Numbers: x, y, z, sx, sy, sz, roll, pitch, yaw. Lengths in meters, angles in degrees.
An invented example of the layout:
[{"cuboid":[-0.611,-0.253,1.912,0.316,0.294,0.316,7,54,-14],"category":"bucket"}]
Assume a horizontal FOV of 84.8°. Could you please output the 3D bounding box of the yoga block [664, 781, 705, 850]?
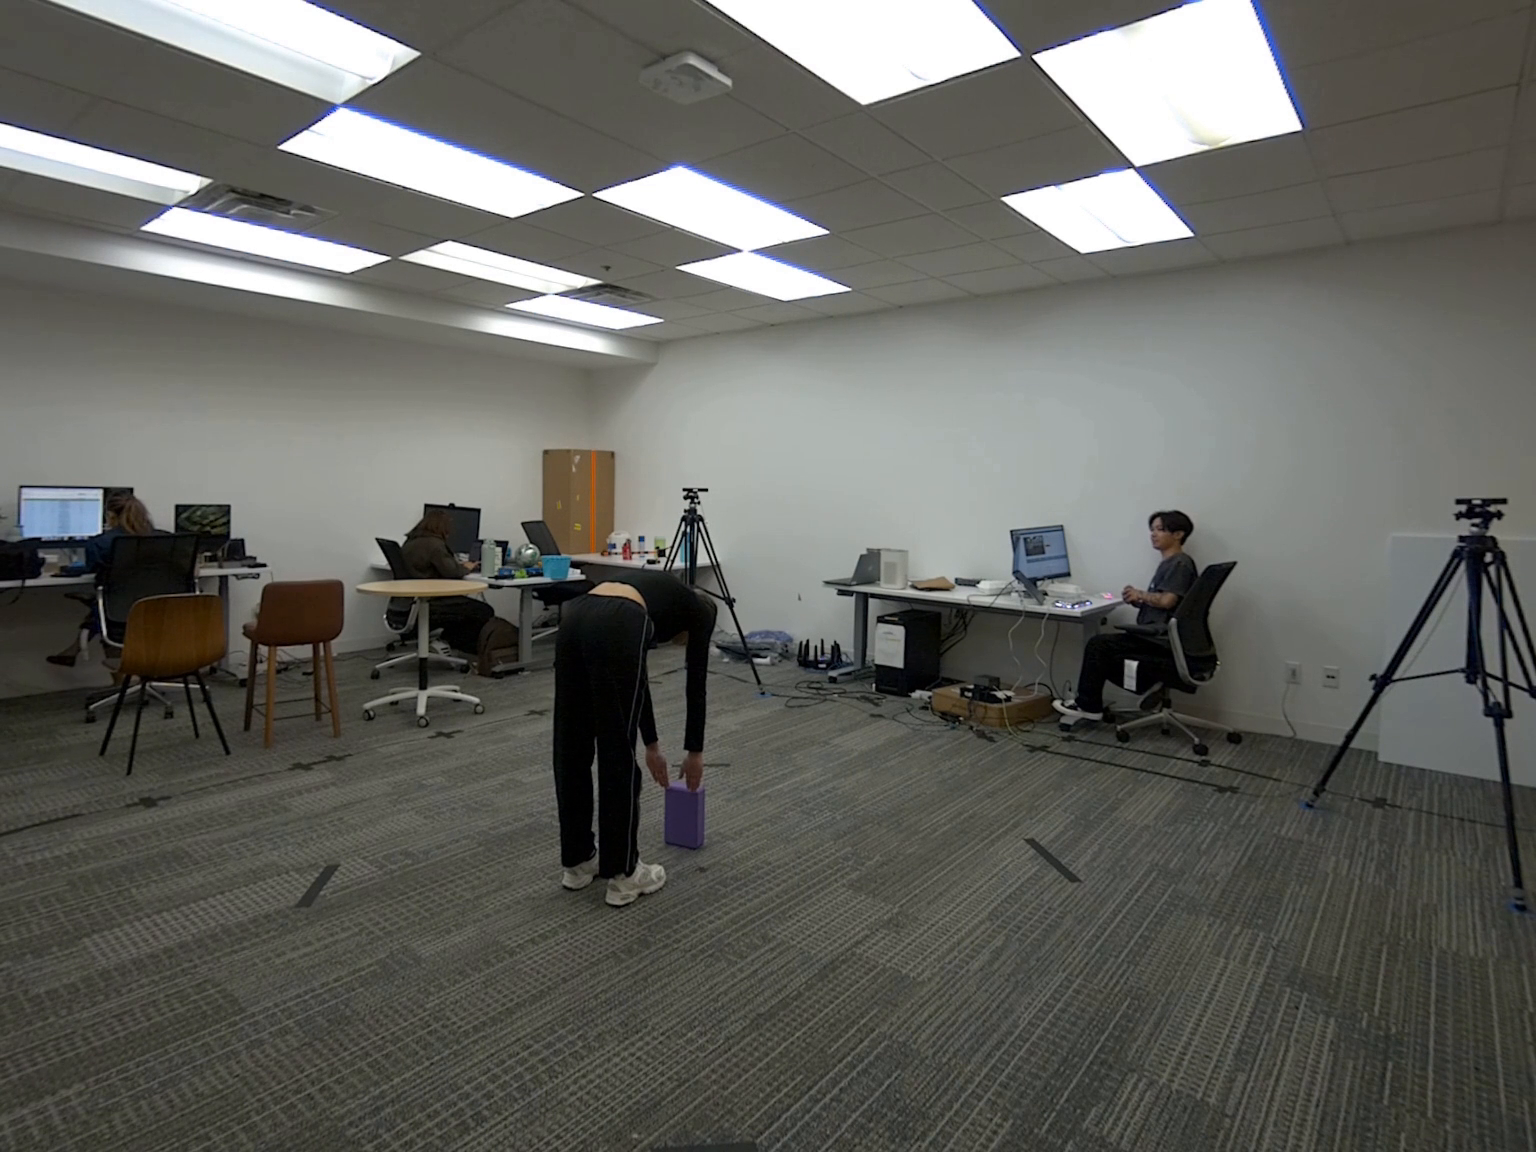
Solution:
[{"cuboid":[-0.339,0.930,3.330,0.152,0.228,0.075,2,4,23],"category":"yoga block"}]
